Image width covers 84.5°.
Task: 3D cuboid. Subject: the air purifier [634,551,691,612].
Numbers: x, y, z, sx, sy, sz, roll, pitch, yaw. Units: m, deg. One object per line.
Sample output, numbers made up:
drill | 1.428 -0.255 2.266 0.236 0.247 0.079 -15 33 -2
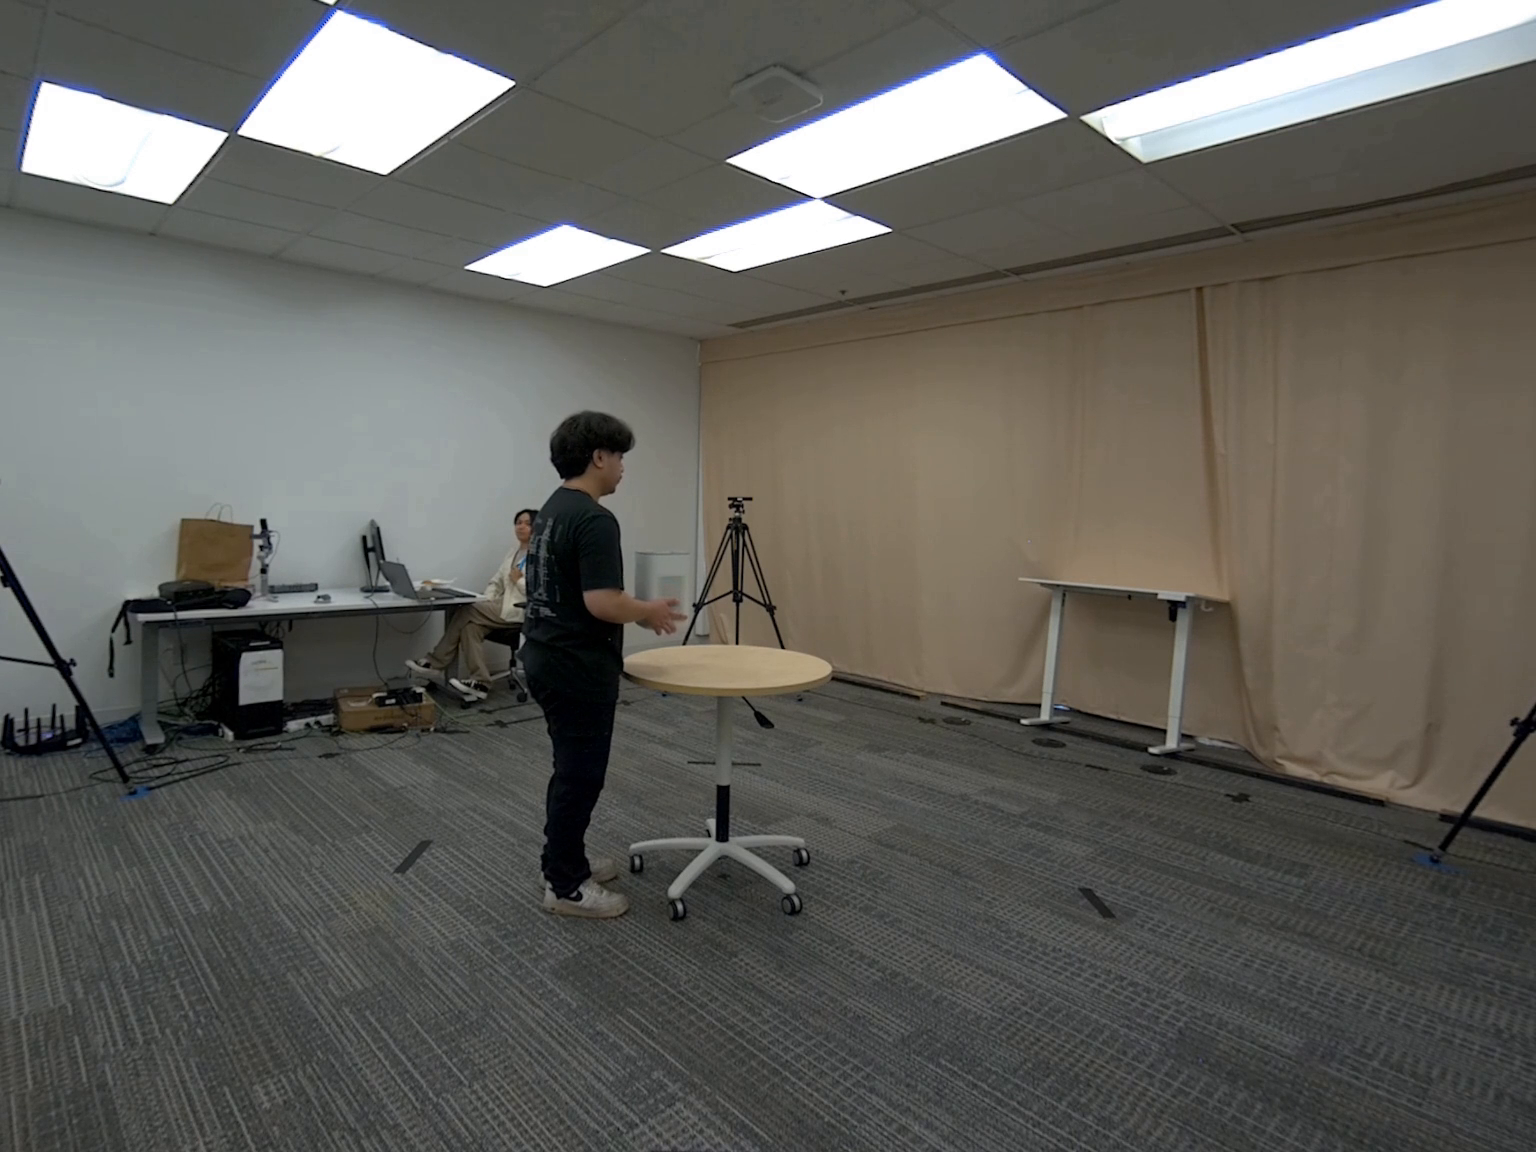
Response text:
air purifier | -0.376 0.046 2.925 0.168 0.265 0.175 -2 4 -30
